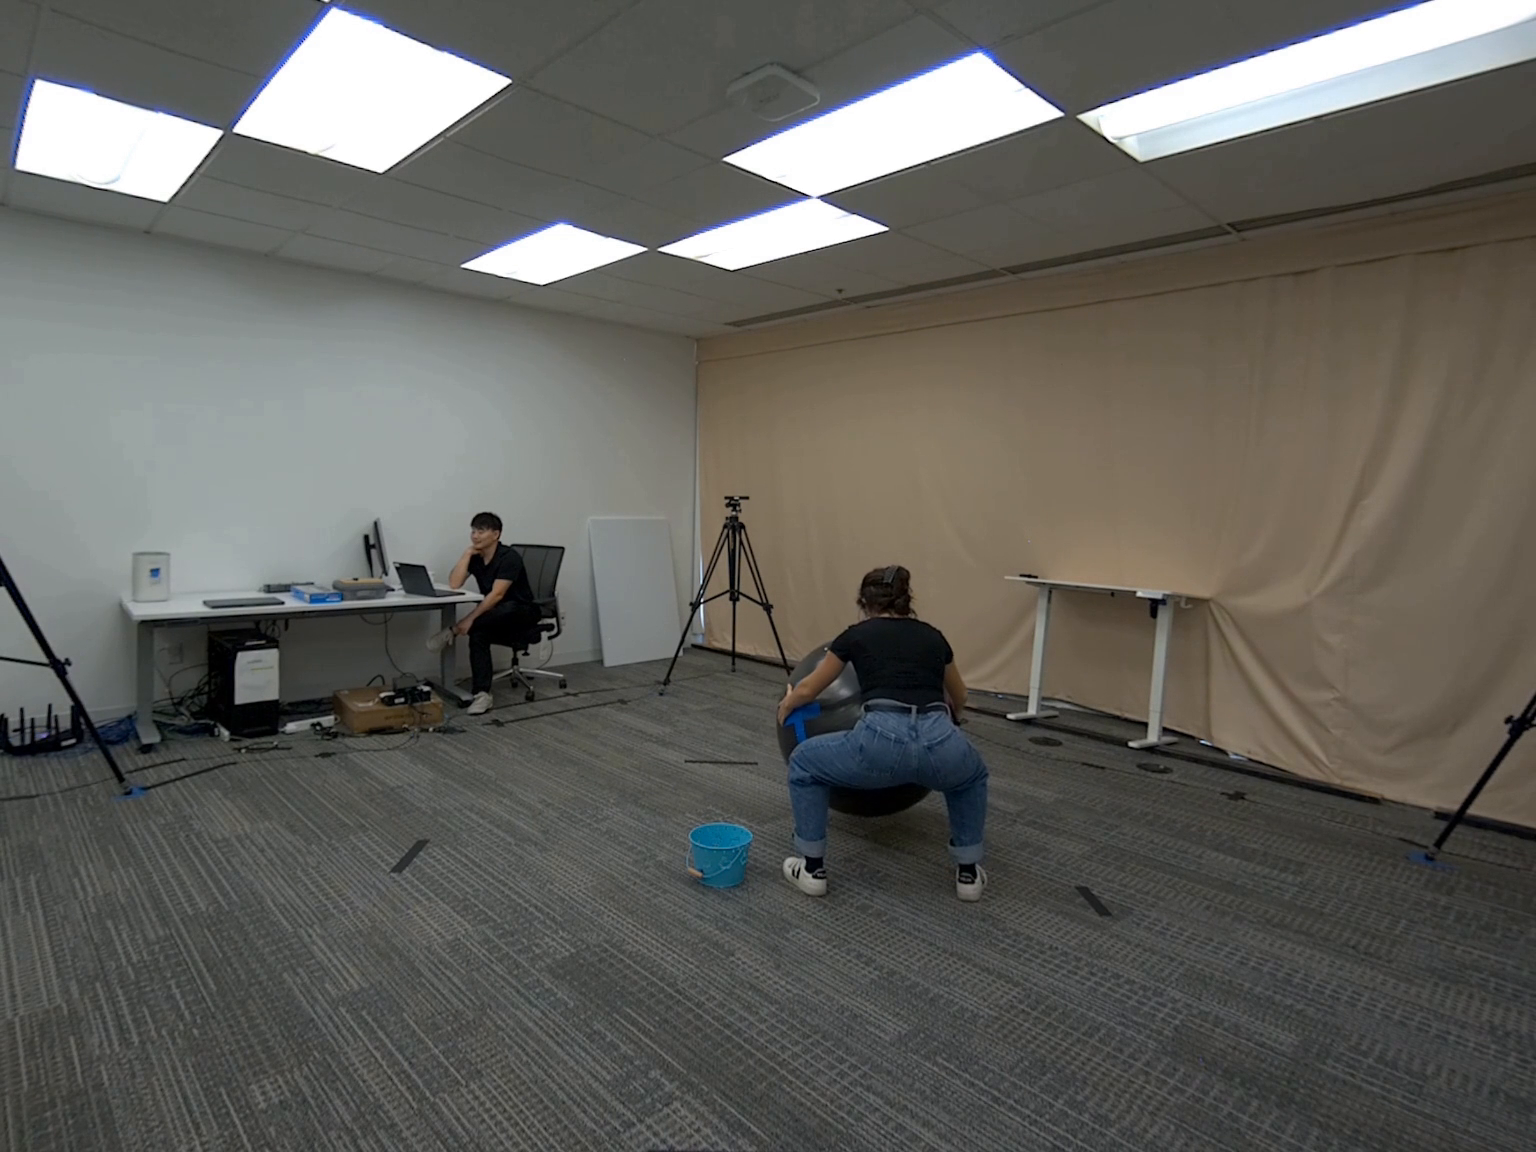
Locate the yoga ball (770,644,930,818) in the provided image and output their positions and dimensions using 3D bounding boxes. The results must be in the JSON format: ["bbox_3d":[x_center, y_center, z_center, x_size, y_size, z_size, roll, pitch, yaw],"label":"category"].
[{"bbox_3d":[0.423,0.638,3.606,0.757,0.756,0.760,1,4,-1],"label":"yoga ball"}]
